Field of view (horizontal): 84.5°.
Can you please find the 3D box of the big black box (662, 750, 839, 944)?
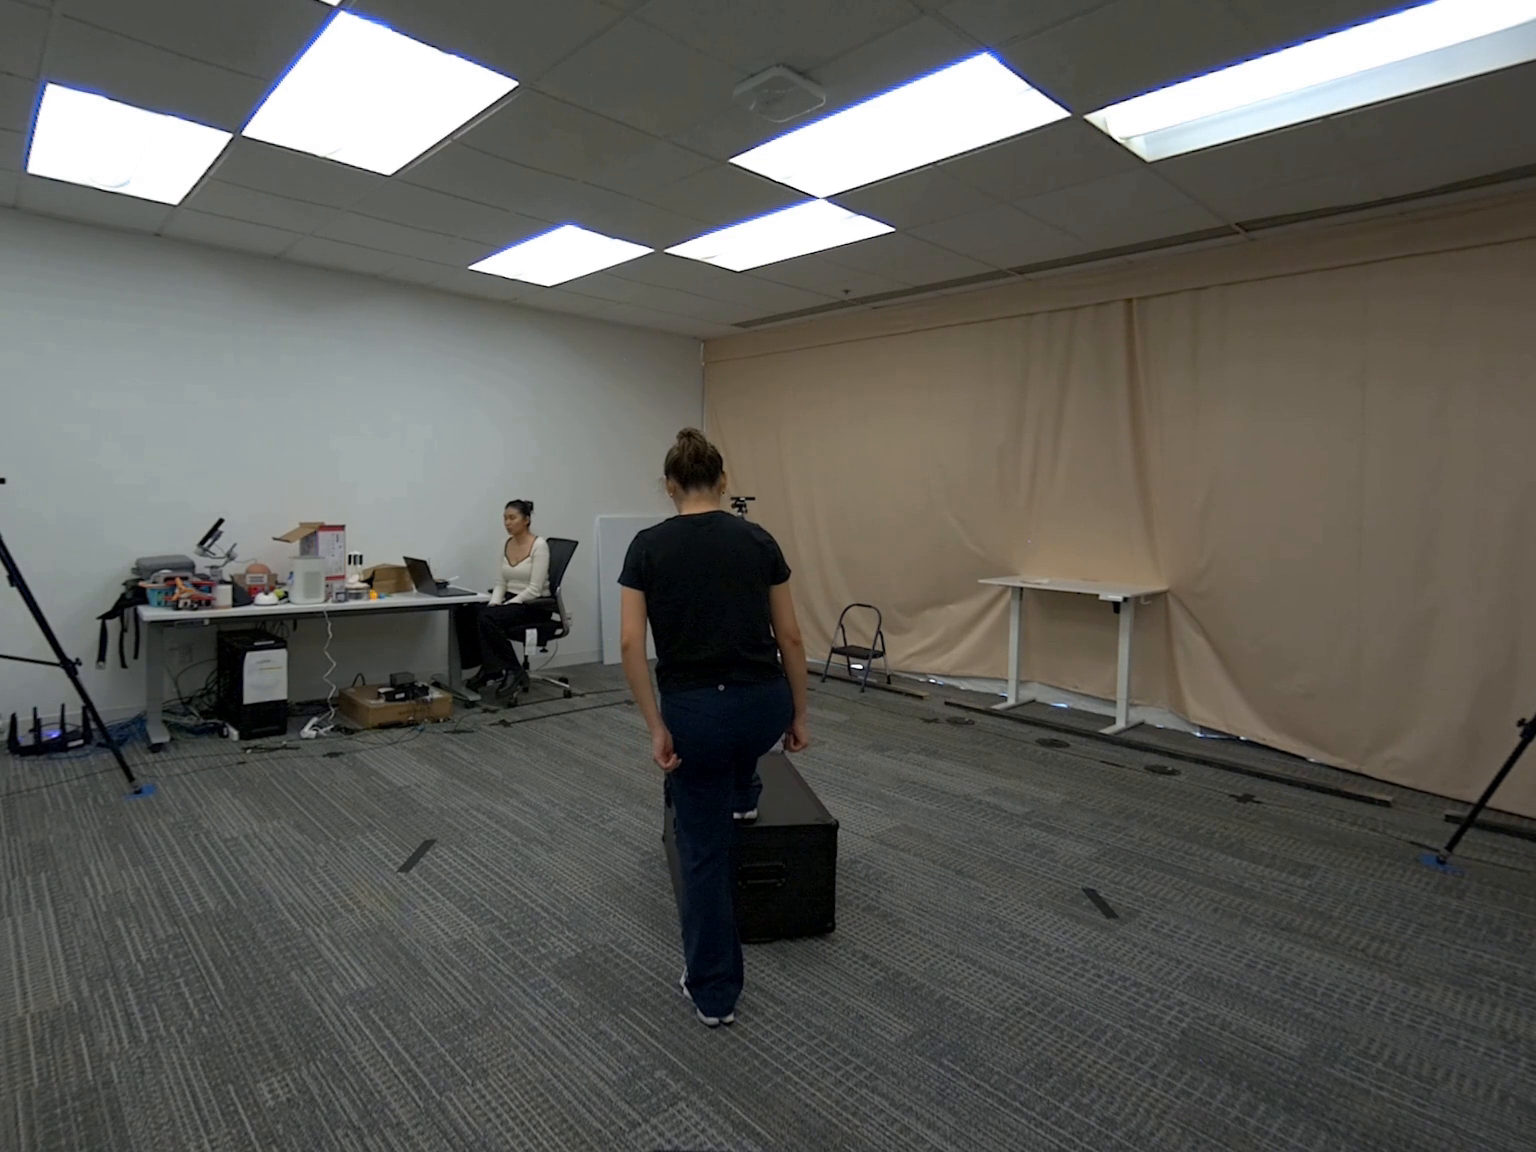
[{"bbox_3d":[-0.107,0.919,3.018,0.516,0.395,0.872,1,5,-12],"label":"big black box"}]
